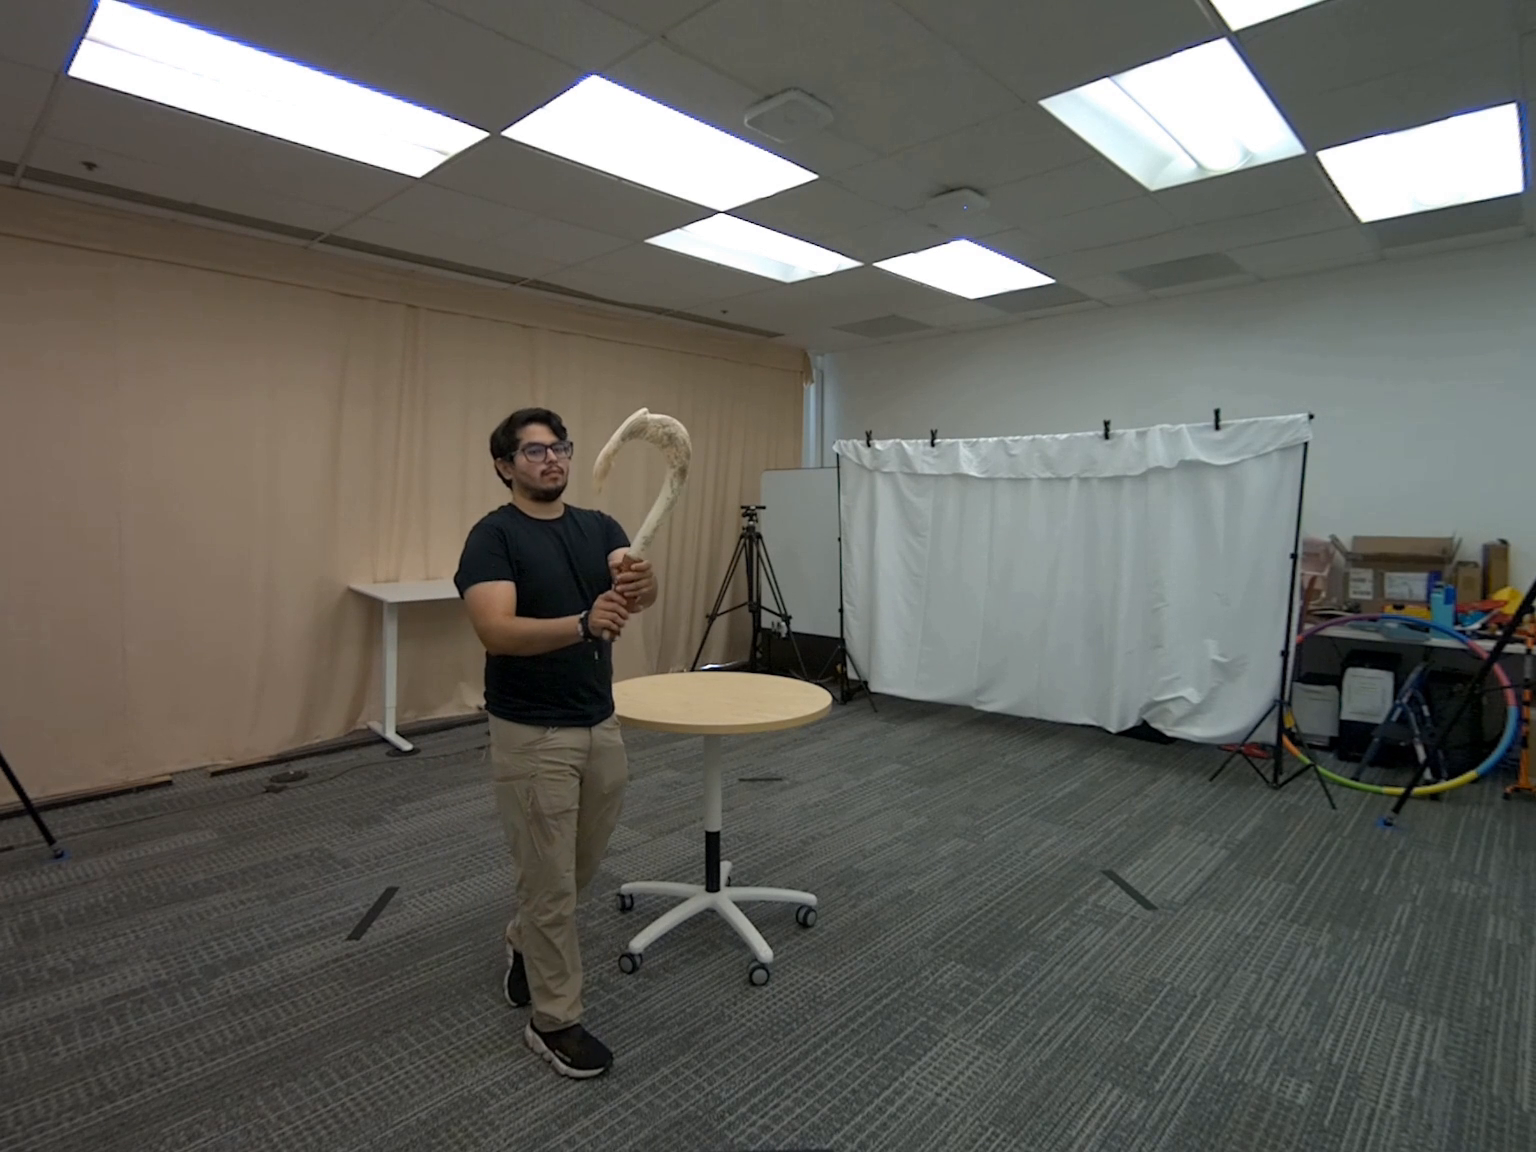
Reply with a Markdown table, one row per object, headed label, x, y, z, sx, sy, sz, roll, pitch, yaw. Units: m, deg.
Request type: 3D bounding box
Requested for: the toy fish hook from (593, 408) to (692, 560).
| label | x | y | z | sx | sy | sz | roll | pitch | yaw |
| --- | --- | --- | --- | --- | --- | --- | --- | --- | --- |
| toy fish hook | -0.304 | -0.096 | 1.770 | 0.217 | 0.505 | 0.050 | 10 | 9 | -38 |
